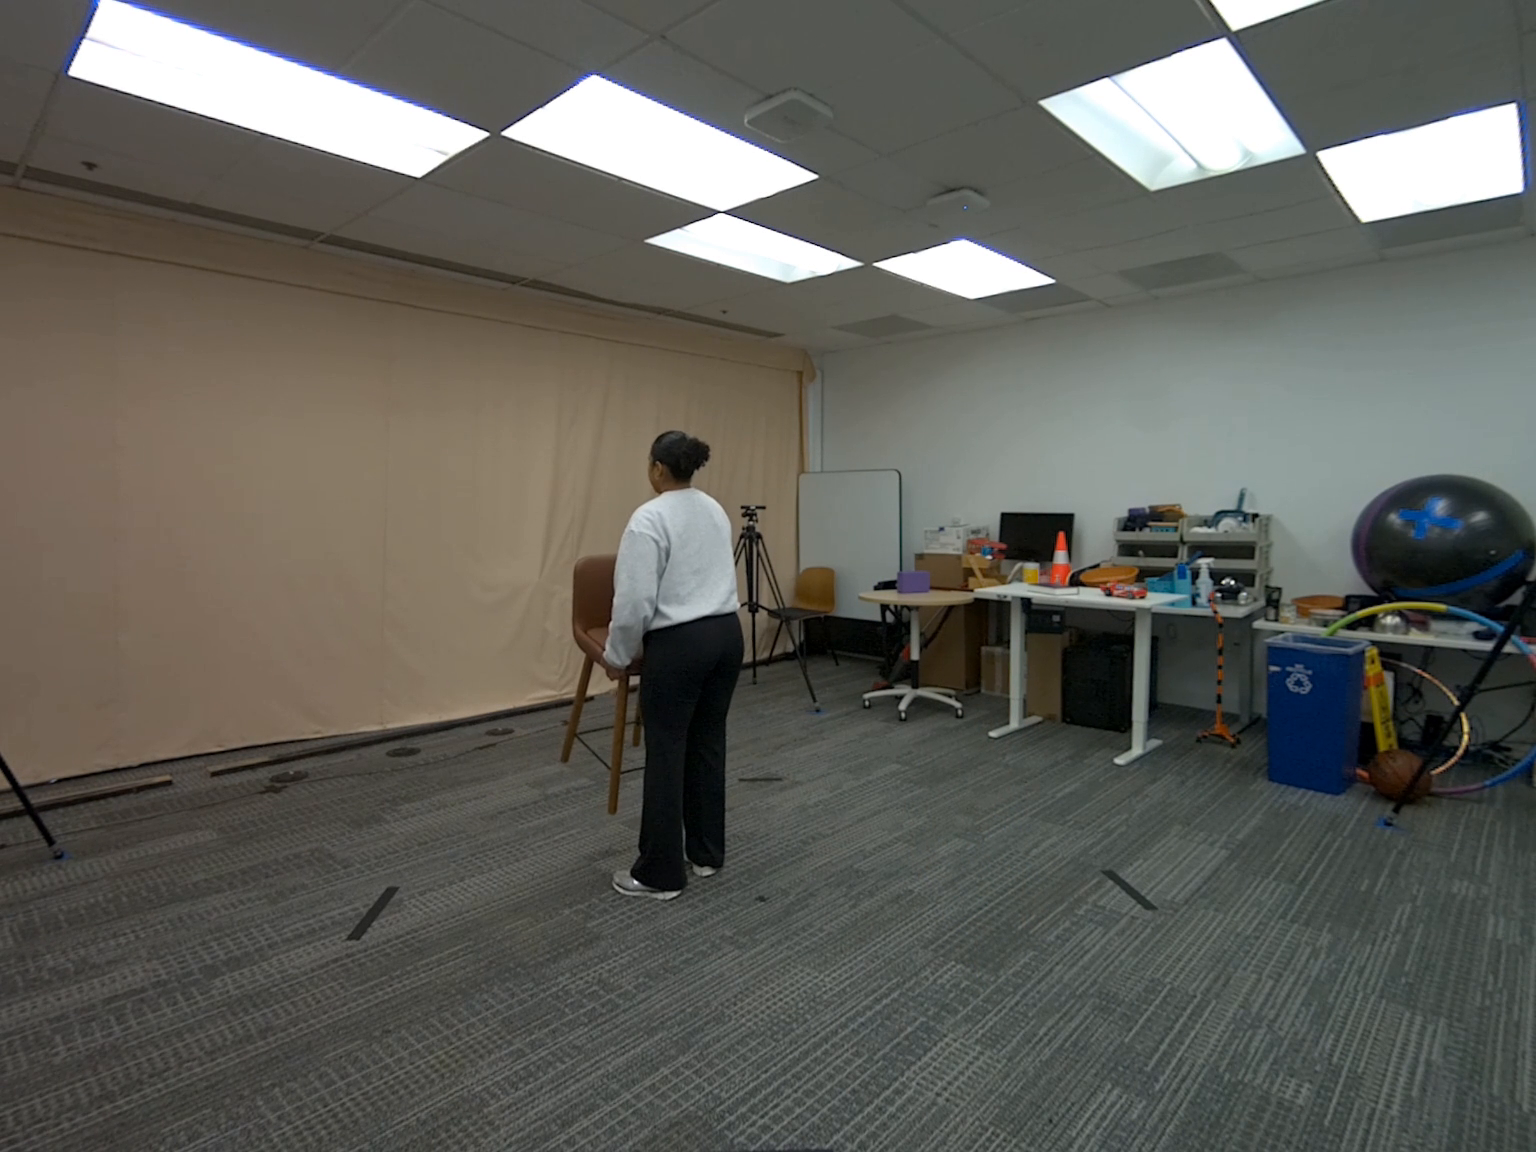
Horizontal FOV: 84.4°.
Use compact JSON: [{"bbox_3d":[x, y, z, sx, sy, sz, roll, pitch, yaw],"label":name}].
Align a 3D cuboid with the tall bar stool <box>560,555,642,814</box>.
[{"bbox_3d":[-0.528,0.402,3.334,0.443,0.884,0.485,-4,16,-40],"label":"tall bar stool"}]
